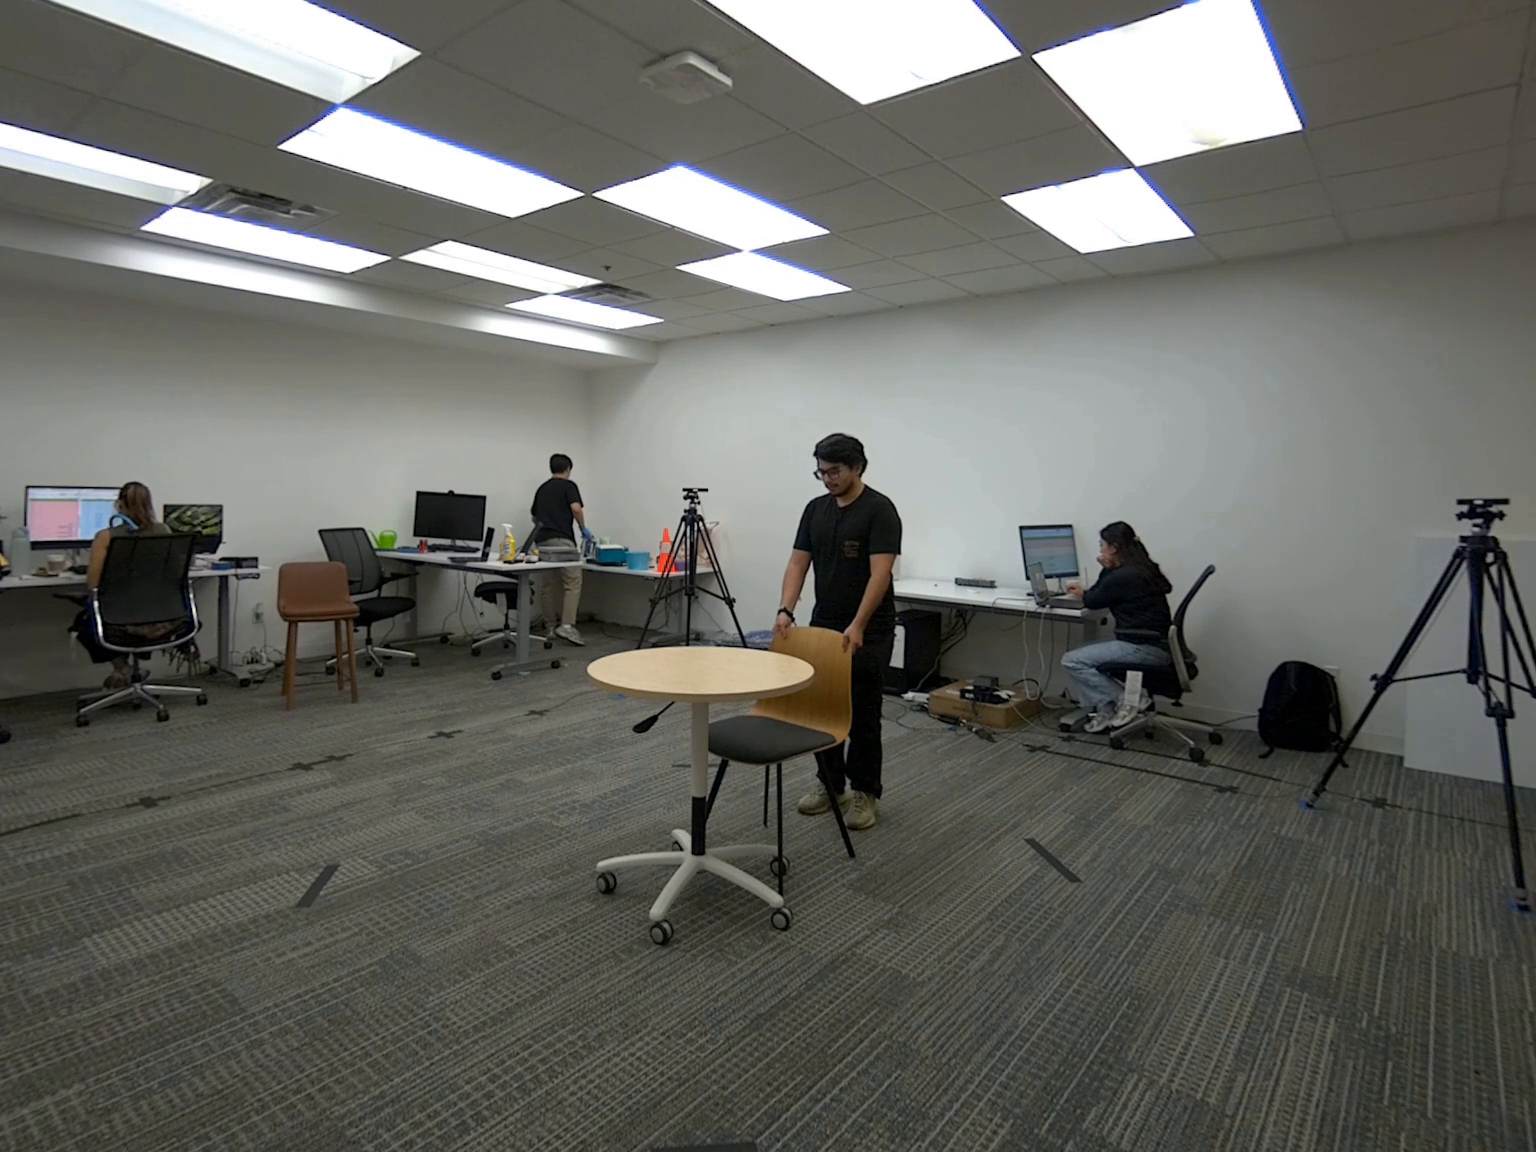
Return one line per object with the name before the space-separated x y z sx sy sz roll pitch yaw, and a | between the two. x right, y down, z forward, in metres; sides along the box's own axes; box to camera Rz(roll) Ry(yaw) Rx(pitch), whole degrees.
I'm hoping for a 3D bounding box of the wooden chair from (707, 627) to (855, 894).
wooden chair | 0.010 0.635 3.196 0.494 0.877 0.505 5 0 42
